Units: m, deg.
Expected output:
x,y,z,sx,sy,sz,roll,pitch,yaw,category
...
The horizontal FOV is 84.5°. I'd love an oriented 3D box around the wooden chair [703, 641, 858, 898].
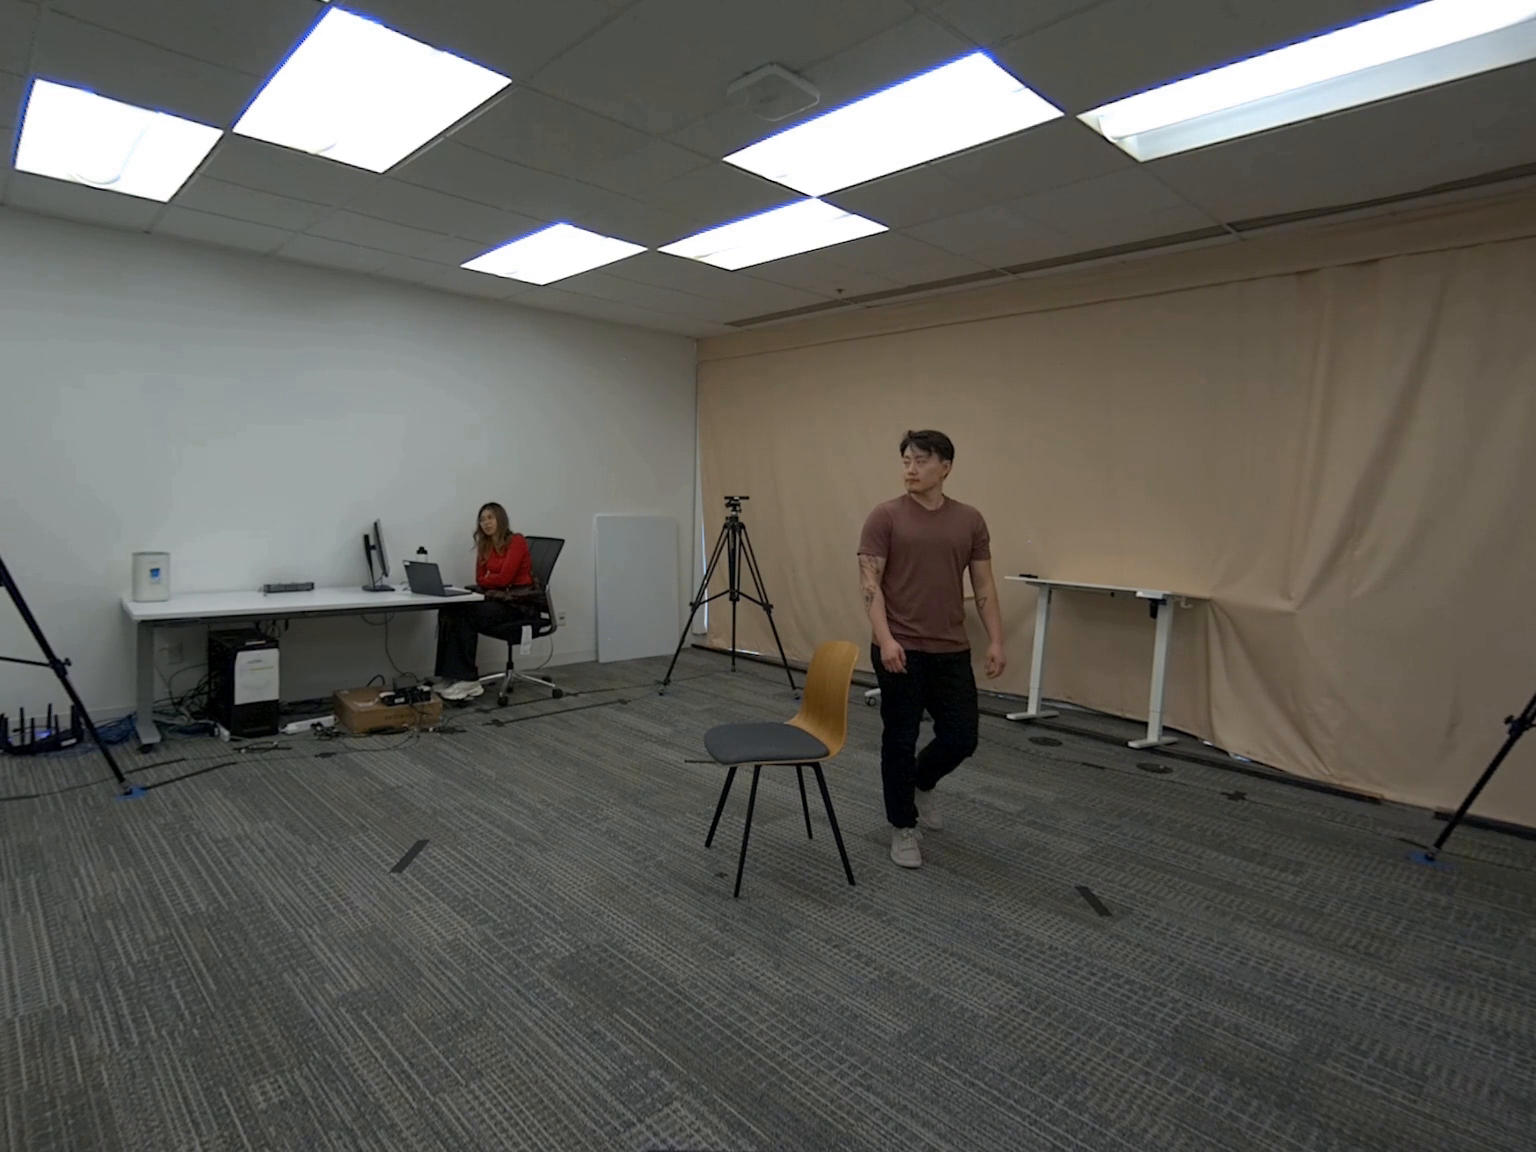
x,y,z,sx,sy,sz,roll,pitch,yaw,category
0.031,0.677,3.163,0.516,0.876,0.485,5,3,-16,wooden chair
